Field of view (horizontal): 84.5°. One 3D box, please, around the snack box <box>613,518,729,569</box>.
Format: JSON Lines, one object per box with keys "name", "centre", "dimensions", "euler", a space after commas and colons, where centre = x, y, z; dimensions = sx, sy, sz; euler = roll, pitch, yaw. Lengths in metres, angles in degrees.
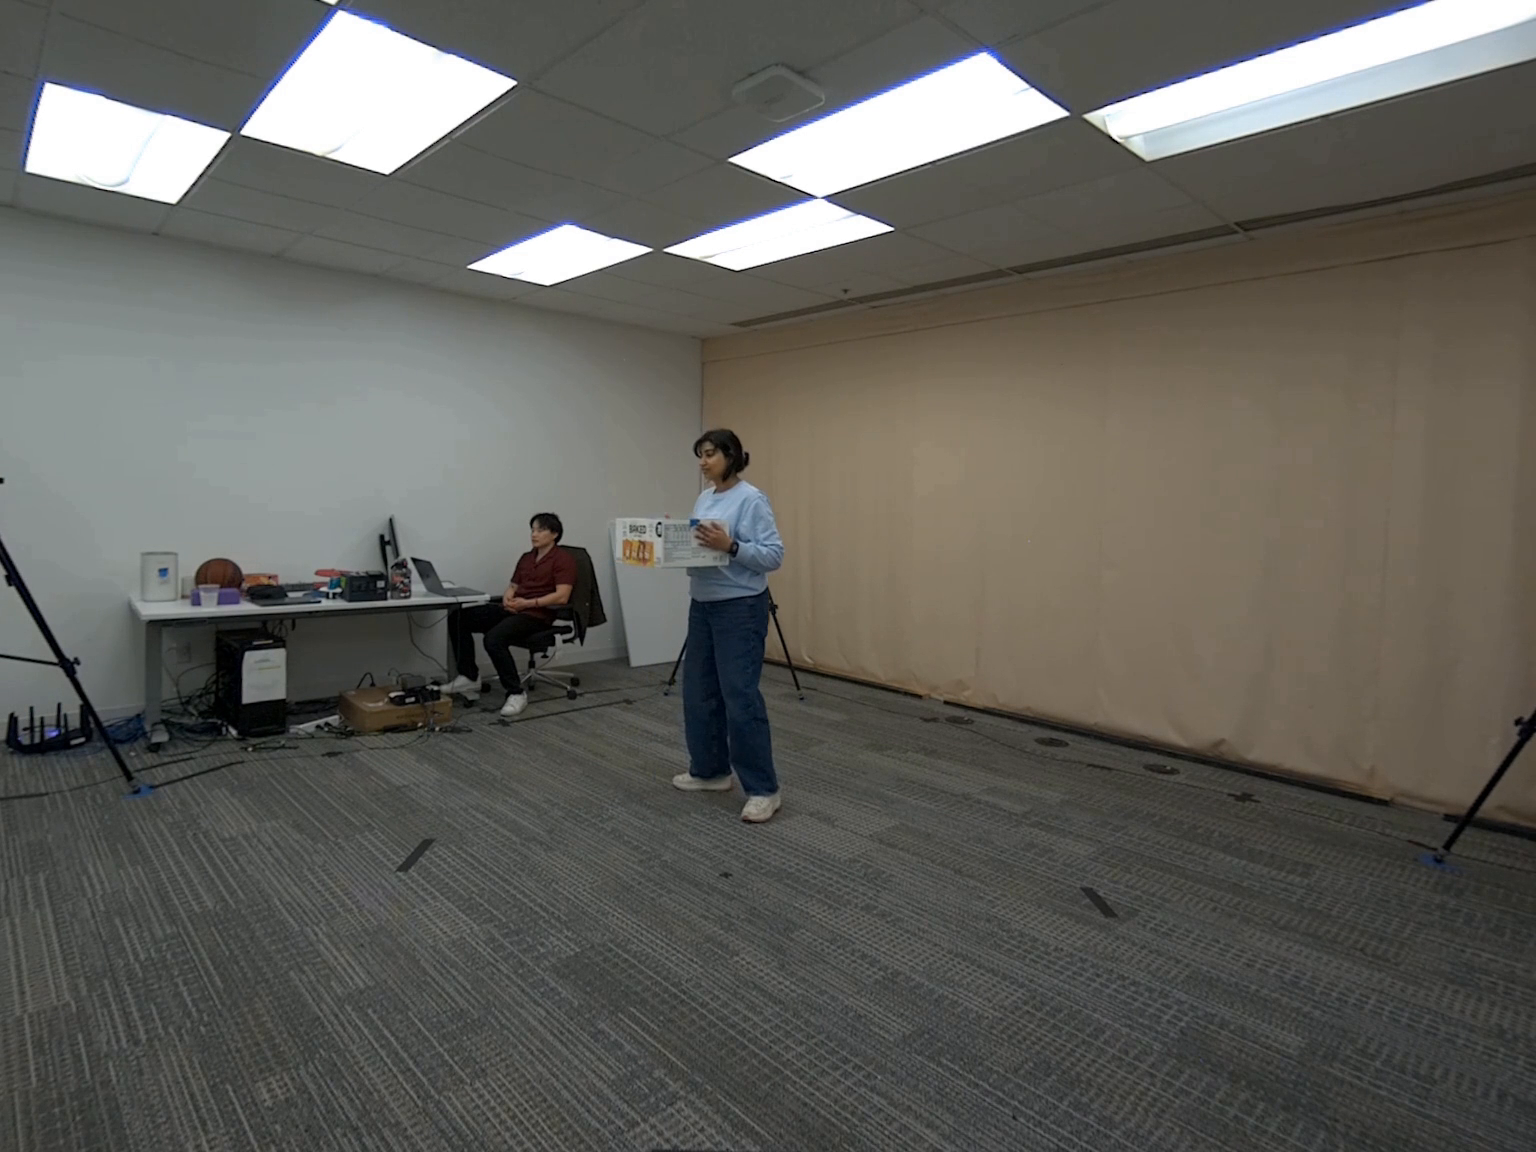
{"name": "snack box", "centre": [-0.427, -0.152, 3.720], "dimensions": [0.333, 0.205, 0.415], "euler": [-3, 5, -37]}
